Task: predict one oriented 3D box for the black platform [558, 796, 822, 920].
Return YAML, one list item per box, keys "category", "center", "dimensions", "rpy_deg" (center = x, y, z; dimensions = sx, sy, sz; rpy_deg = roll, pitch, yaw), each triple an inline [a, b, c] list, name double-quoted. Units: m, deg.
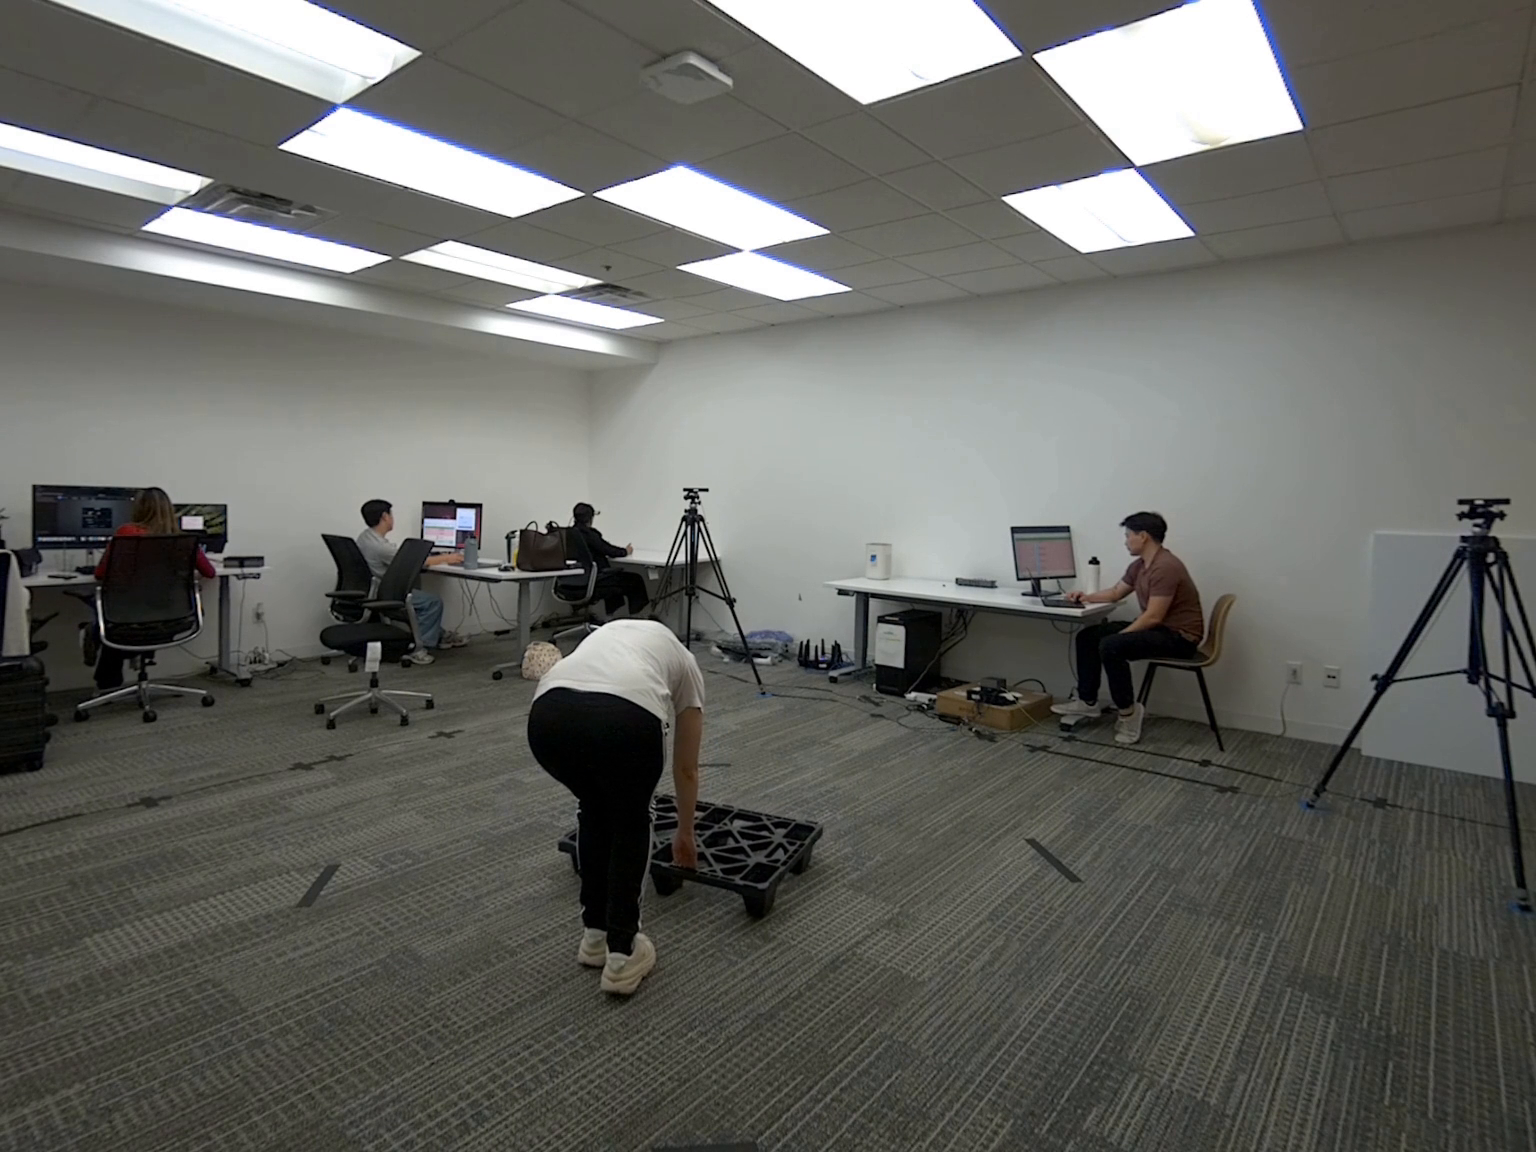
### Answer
- category: "black platform"
  center: [-0.277, 1.002, 3.105]
  dimensions: [0.826, 0.143, 0.593]
  rpy_deg: [3, 6, 24]
